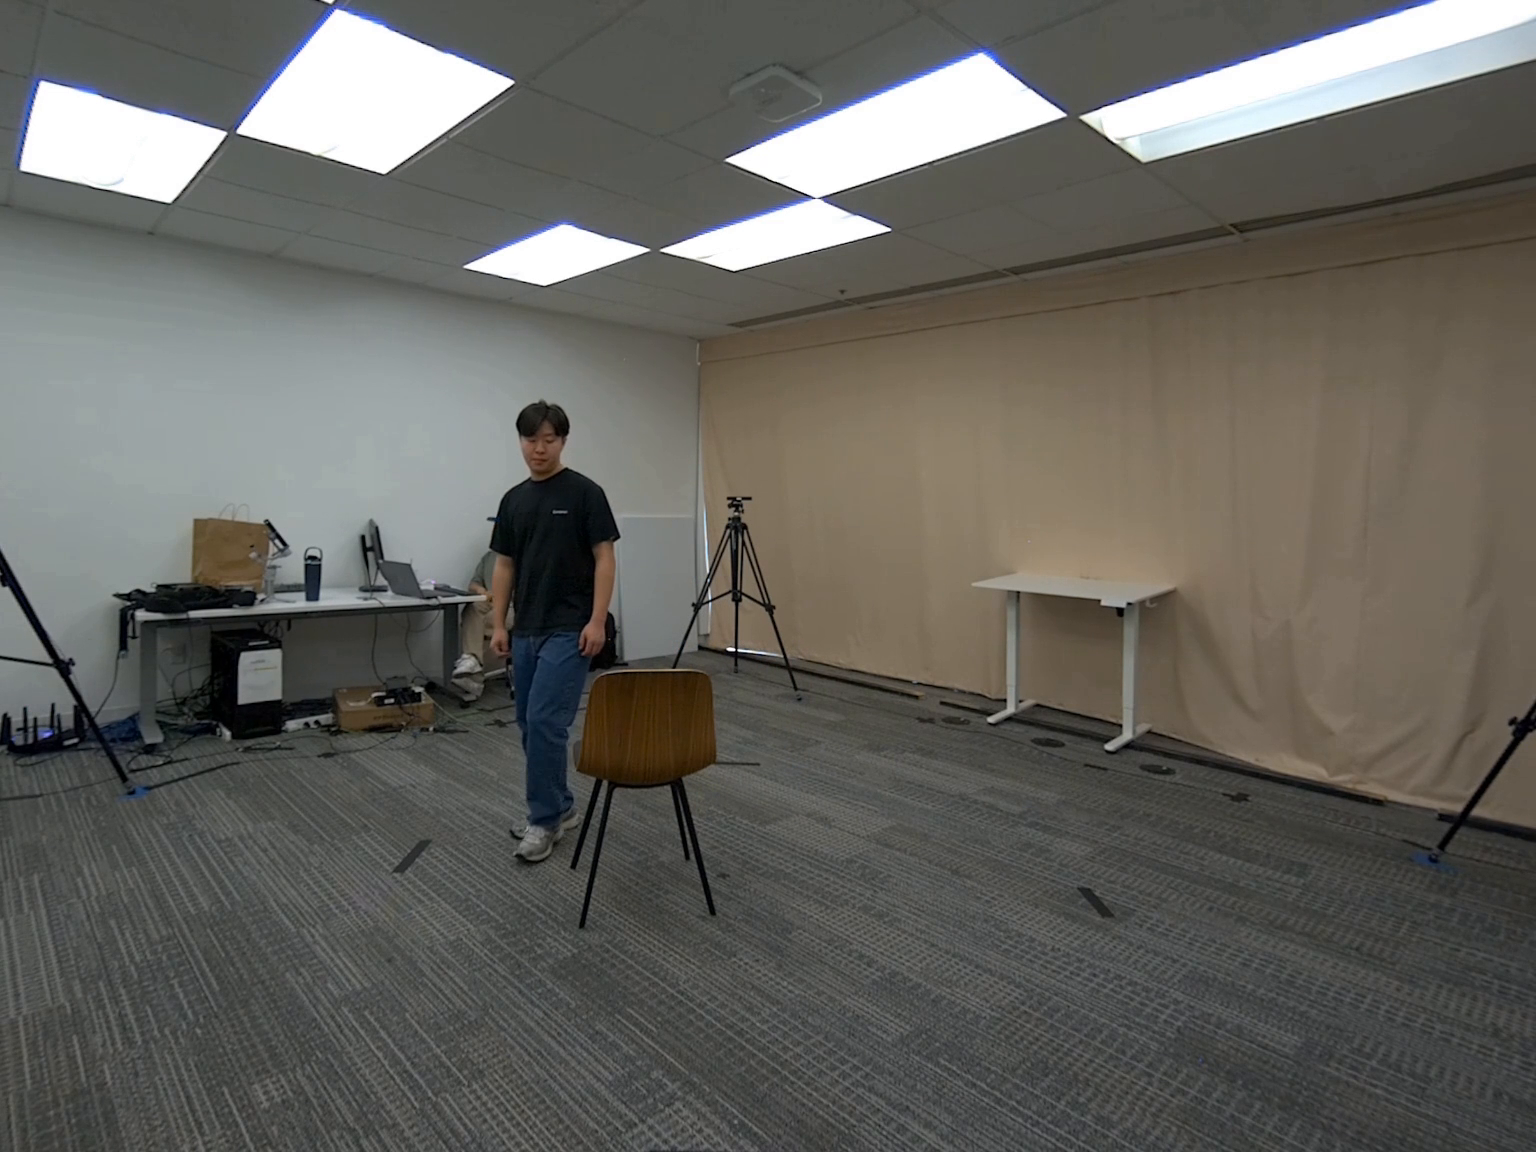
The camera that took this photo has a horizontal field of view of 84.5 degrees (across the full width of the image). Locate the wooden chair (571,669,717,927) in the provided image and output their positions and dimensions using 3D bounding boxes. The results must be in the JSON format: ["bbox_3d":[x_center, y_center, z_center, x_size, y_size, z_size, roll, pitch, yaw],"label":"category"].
[{"bbox_3d":[-0.443,0.689,2.940,0.472,0.873,0.532,0,7,-16],"label":"wooden chair"}]
